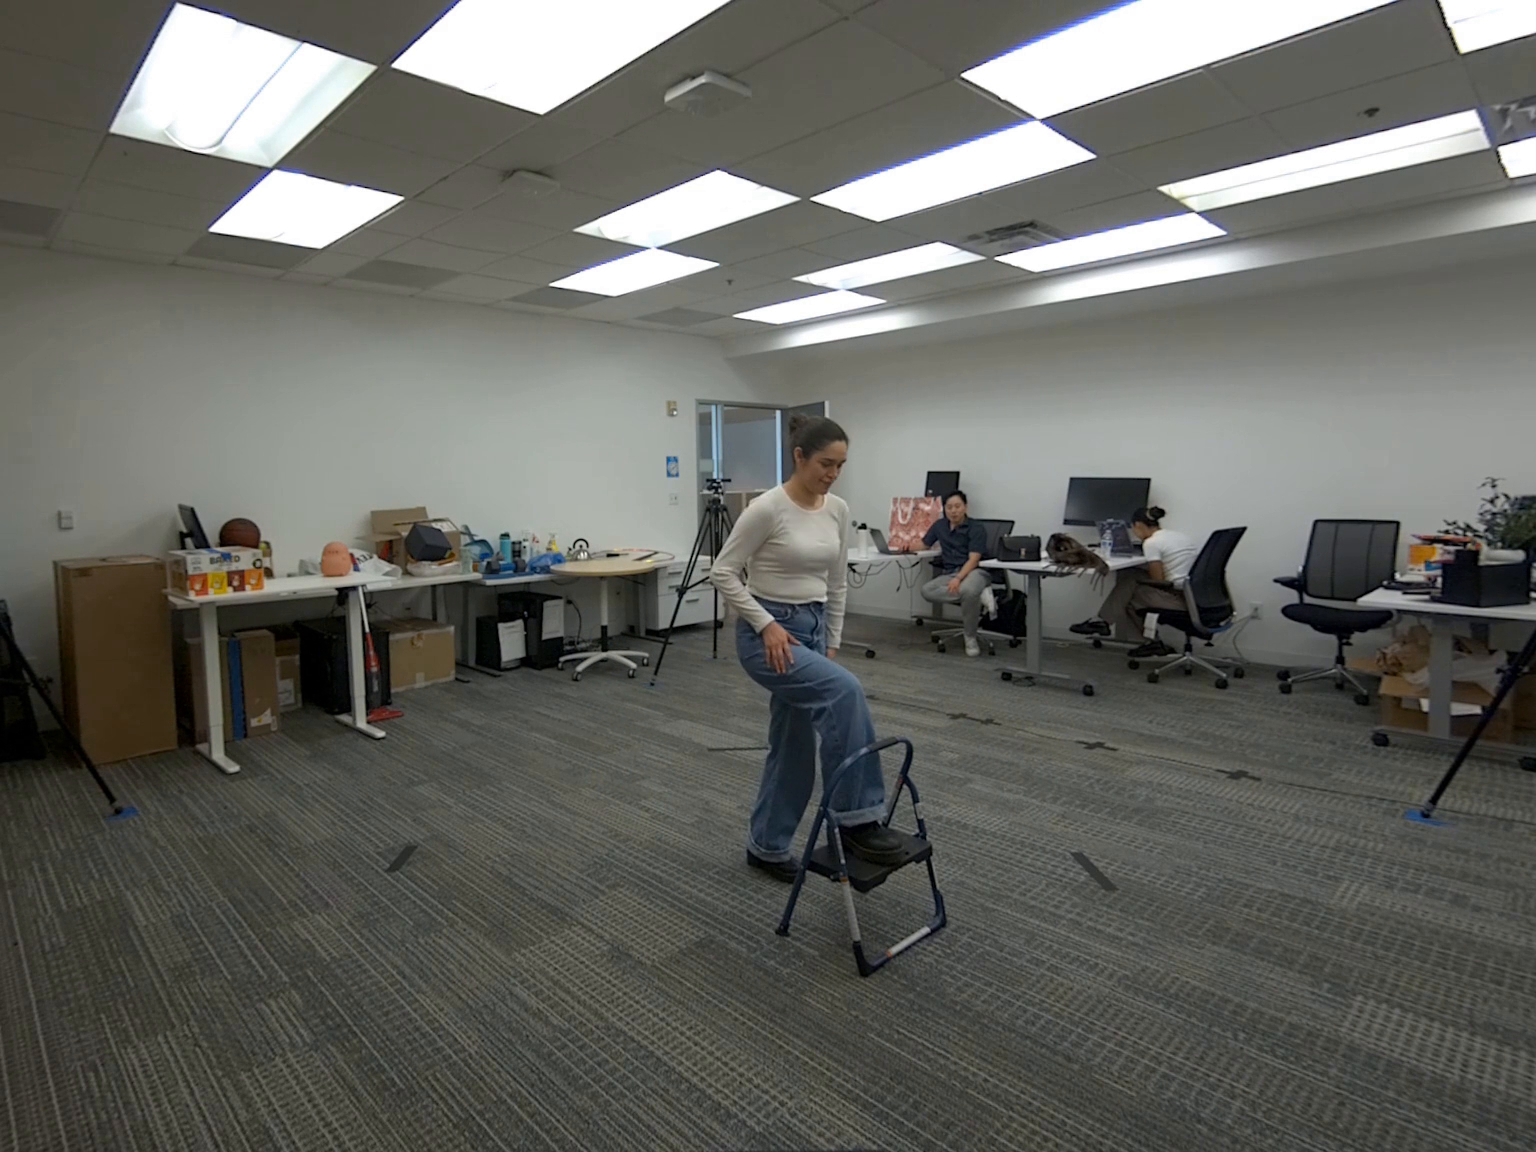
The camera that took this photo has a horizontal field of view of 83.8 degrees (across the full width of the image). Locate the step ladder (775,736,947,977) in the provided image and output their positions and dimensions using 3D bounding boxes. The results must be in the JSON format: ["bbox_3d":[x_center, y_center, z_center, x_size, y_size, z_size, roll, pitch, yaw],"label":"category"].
[{"bbox_3d":[0.291,0.791,2.626,0.360,0.603,0.419,3,7,45],"label":"step ladder"}]
